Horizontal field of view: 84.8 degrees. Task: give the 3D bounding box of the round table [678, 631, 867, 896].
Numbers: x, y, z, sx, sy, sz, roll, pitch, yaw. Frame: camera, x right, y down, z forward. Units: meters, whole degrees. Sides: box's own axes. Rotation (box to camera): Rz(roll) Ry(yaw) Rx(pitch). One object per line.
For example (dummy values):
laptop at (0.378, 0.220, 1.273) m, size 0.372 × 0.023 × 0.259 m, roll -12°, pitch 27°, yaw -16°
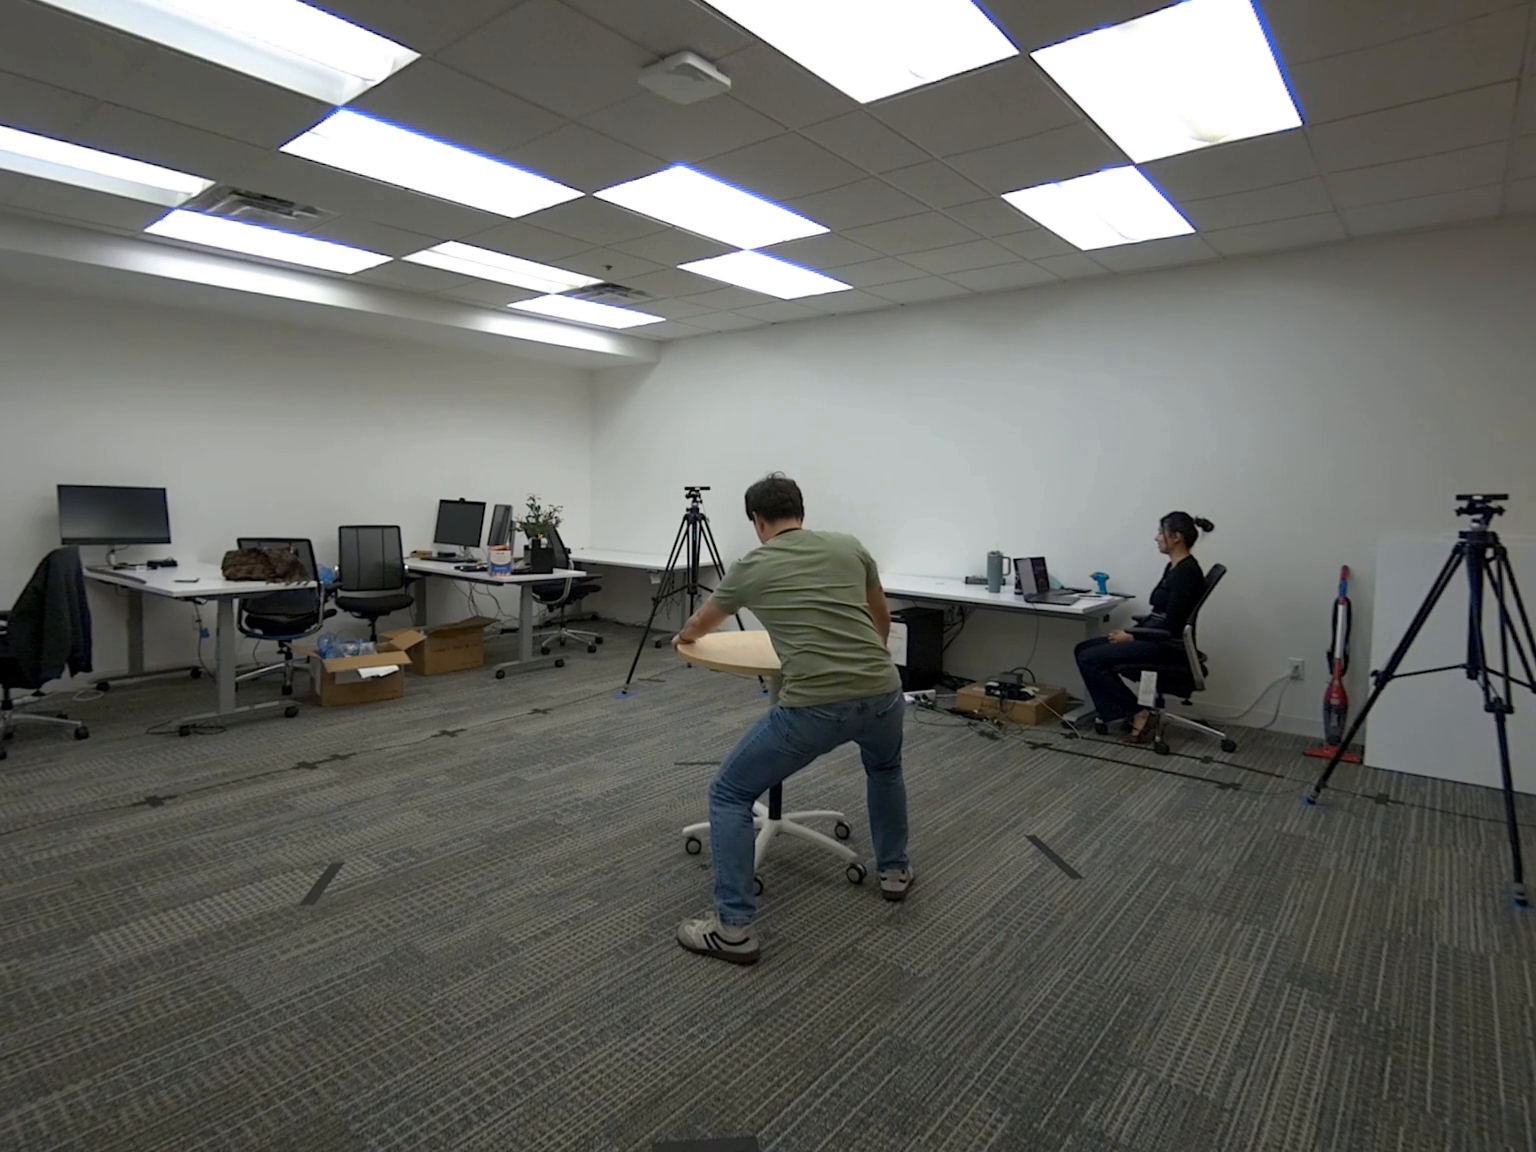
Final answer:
round table at (0.021, 0.665, 3.219) m, size 0.763 × 0.792 × 0.767 m, roll 1°, pitch 4°, yaw -2°
